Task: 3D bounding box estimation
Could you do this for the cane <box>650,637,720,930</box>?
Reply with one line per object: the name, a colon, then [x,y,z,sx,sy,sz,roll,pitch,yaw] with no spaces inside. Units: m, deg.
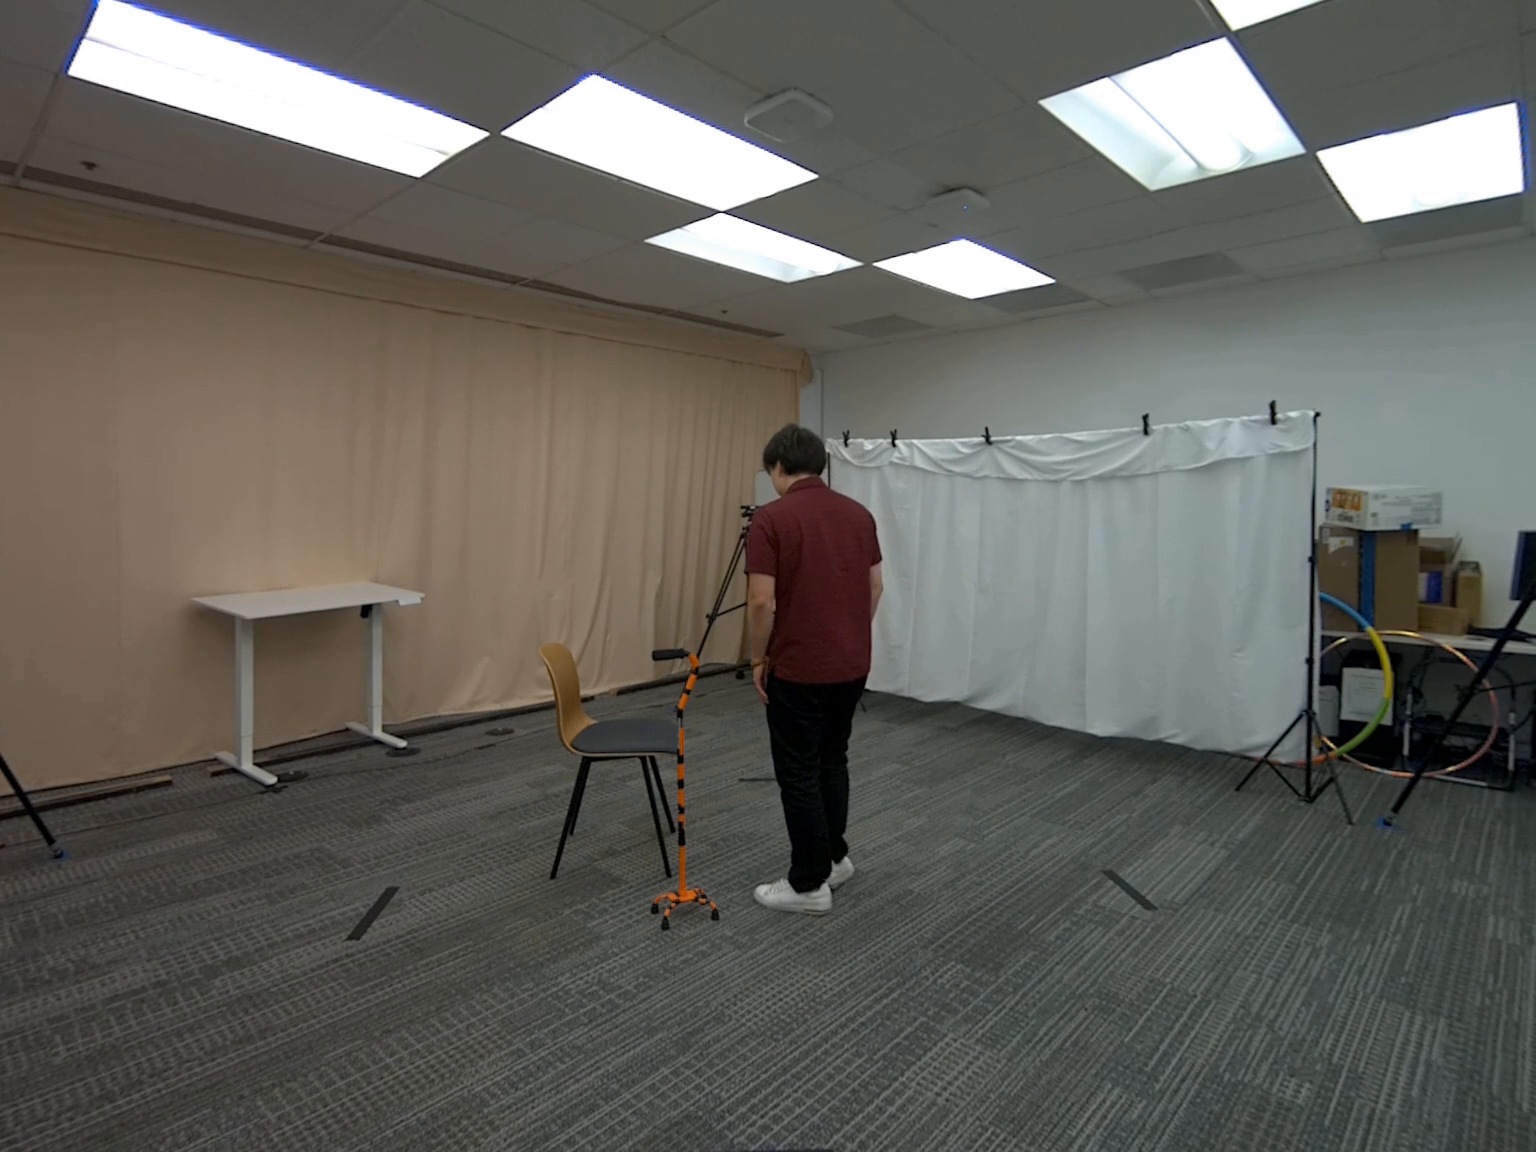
cane: [-0.283,0.702,2.846,0.202,0.906,0.155,-1,3,-25]
